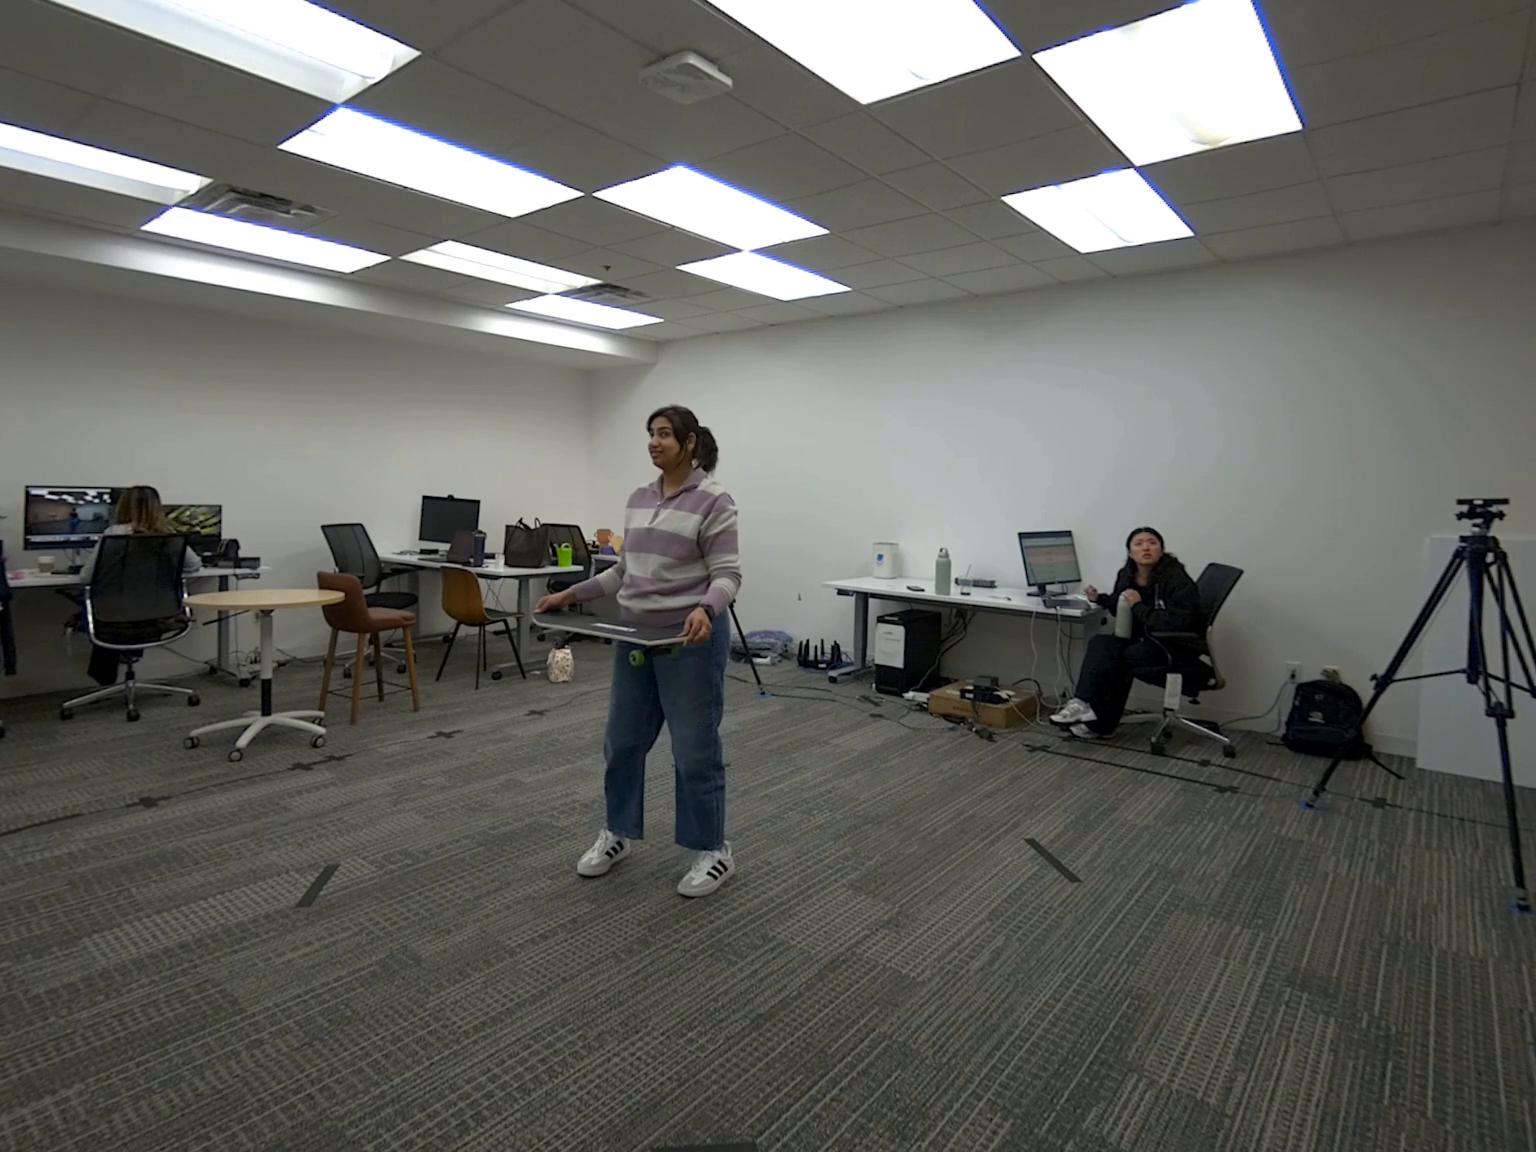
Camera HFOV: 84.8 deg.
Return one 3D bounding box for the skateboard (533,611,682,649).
[{"bbox_3d":[-0.539,0.204,2.847,0.811,0.110,0.188,3,6,41],"label":"skateboard"}]
